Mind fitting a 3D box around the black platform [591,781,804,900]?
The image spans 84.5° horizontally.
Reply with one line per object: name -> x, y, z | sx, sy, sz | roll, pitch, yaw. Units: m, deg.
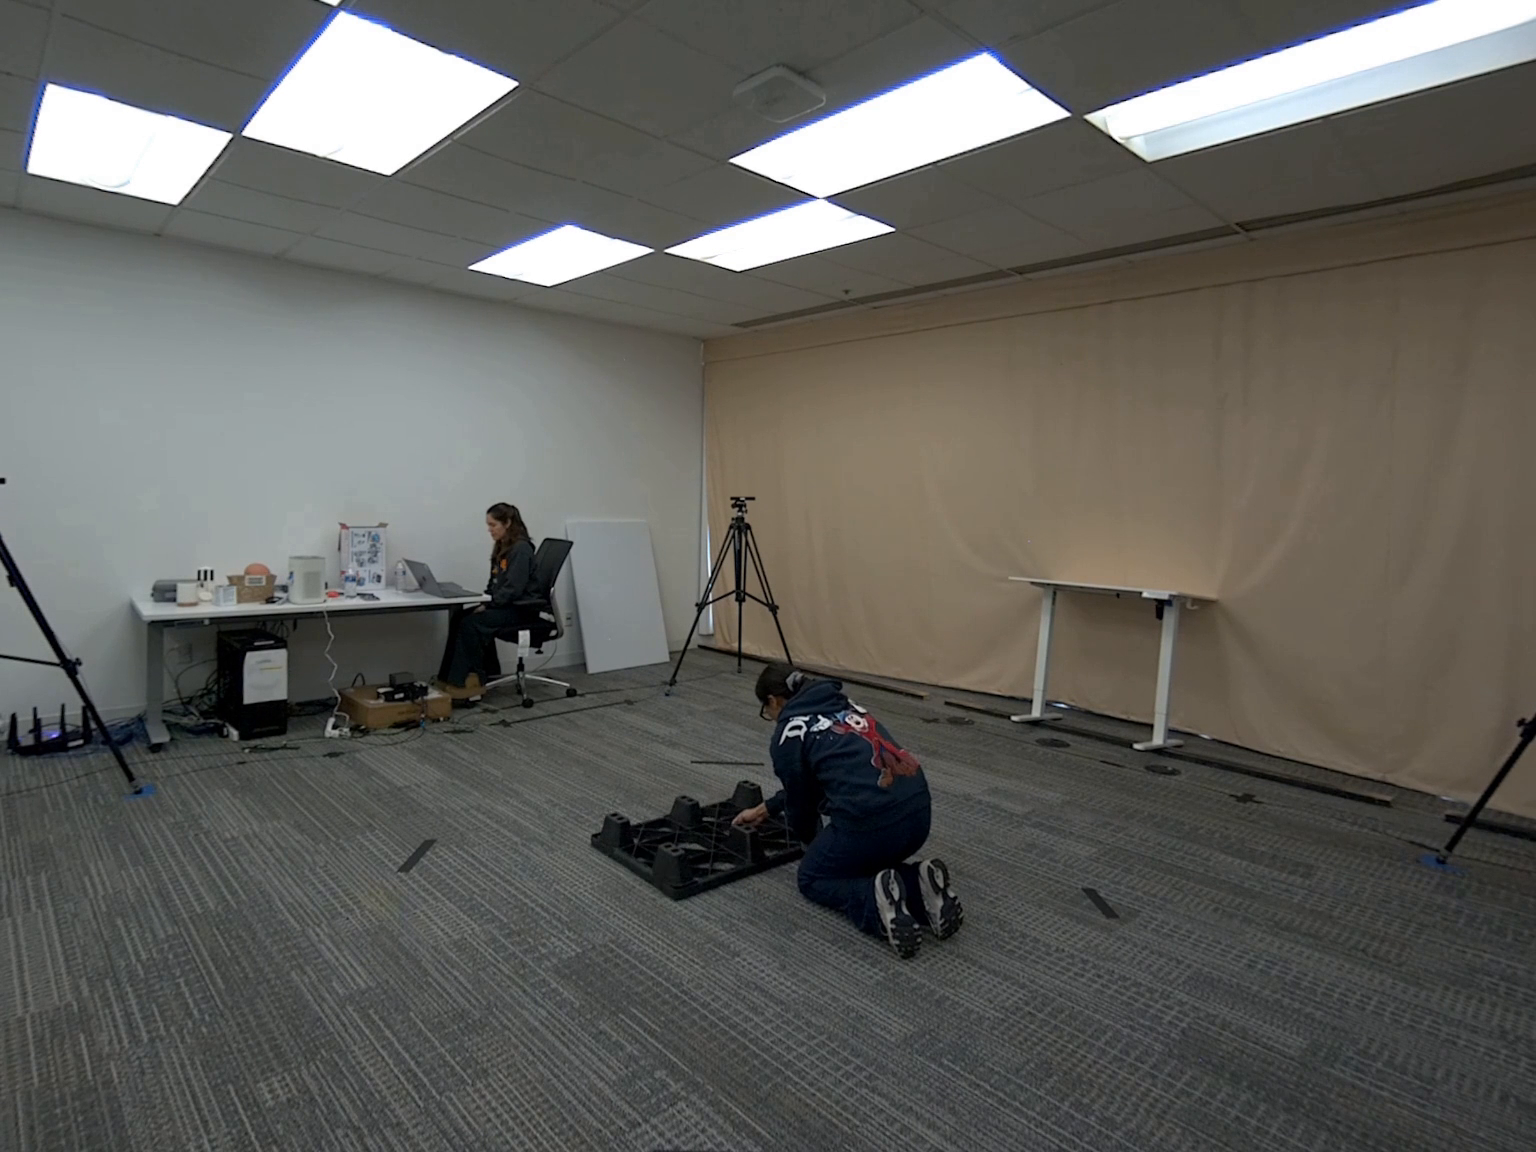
black platform -> -0.221, 1.015, 3.382 | 0.787, 0.143, 0.621 | -3, 7, -41
